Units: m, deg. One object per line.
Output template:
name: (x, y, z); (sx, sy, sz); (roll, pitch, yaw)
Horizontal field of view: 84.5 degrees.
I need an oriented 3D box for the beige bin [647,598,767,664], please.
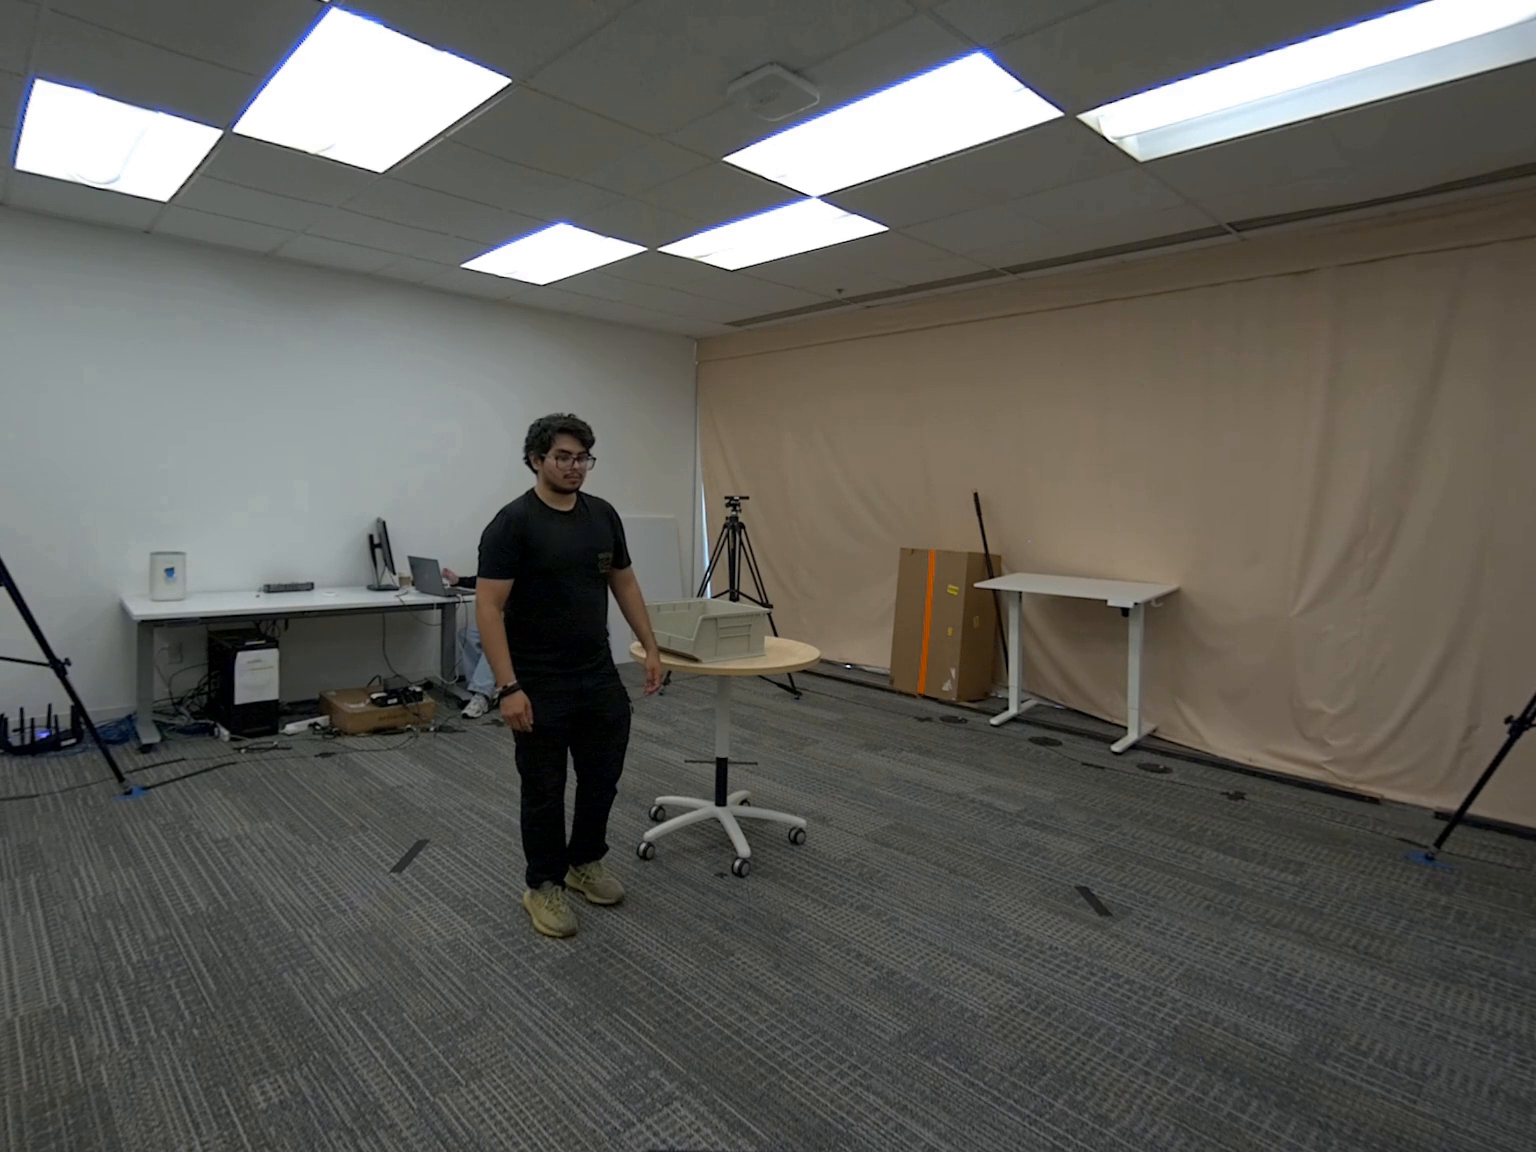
beige bin: (-0.275, 0.210, 3.322); (0.368, 0.188, 0.433); (-1, 5, -42)
